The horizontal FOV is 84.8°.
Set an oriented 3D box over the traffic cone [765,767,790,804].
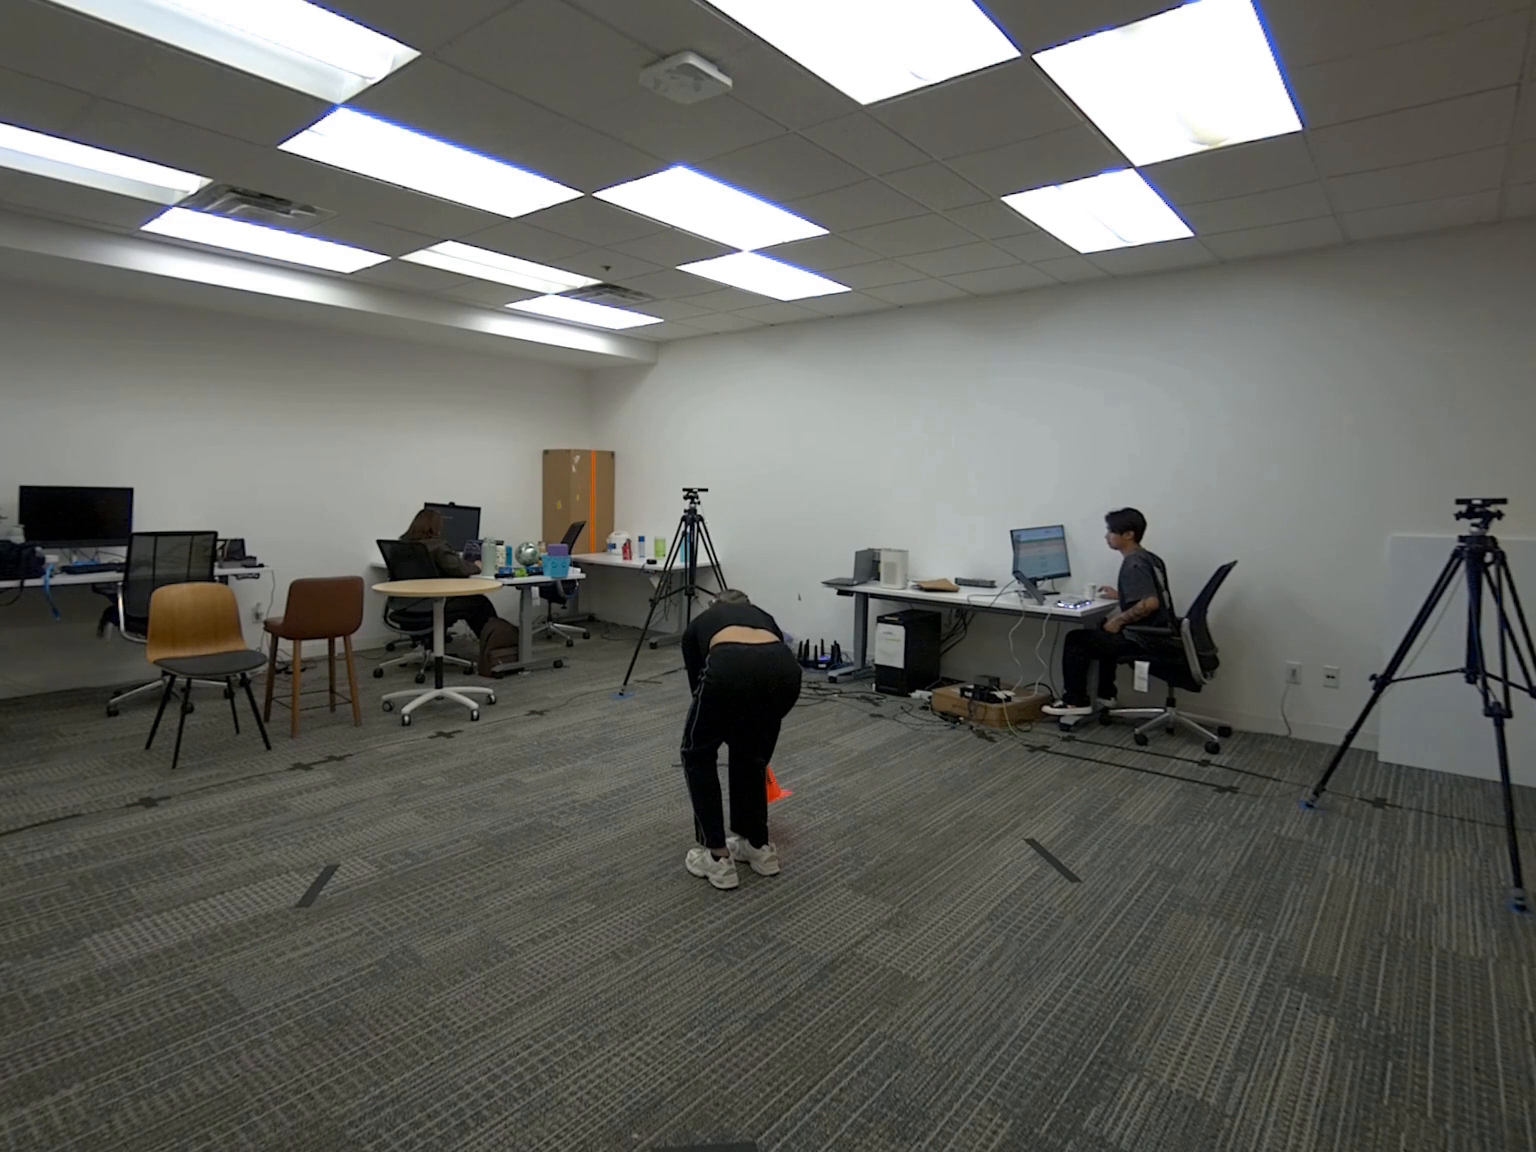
[{"bbox_3d":[-0.076,0.716,3.470,0.199,0.385,0.208,-12,-3,-27],"label":"traffic cone"}]
